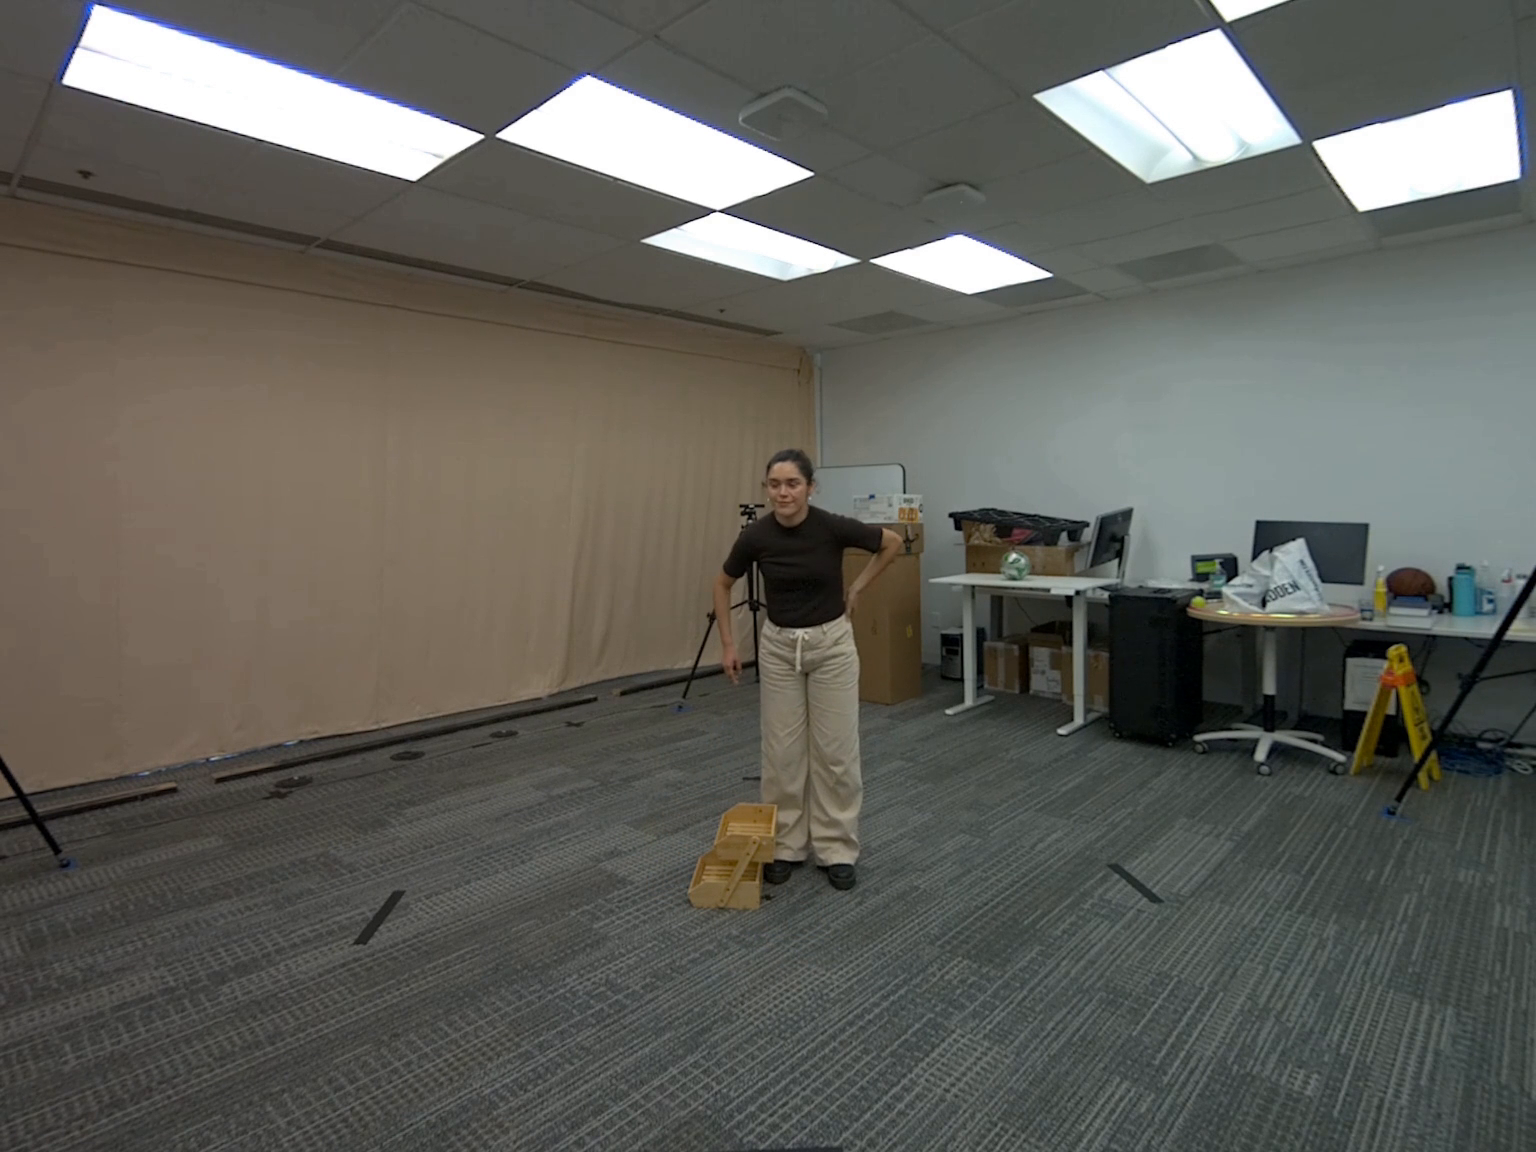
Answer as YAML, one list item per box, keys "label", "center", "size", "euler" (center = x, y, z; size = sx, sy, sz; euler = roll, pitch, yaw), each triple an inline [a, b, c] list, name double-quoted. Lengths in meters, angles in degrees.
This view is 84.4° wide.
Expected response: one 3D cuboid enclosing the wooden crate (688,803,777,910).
- label: "wooden crate"
  center: [-0.125, 1.004, 3.043]
  size: [0.304, 0.273, 0.323]
  euler: [1, 4, 4]
